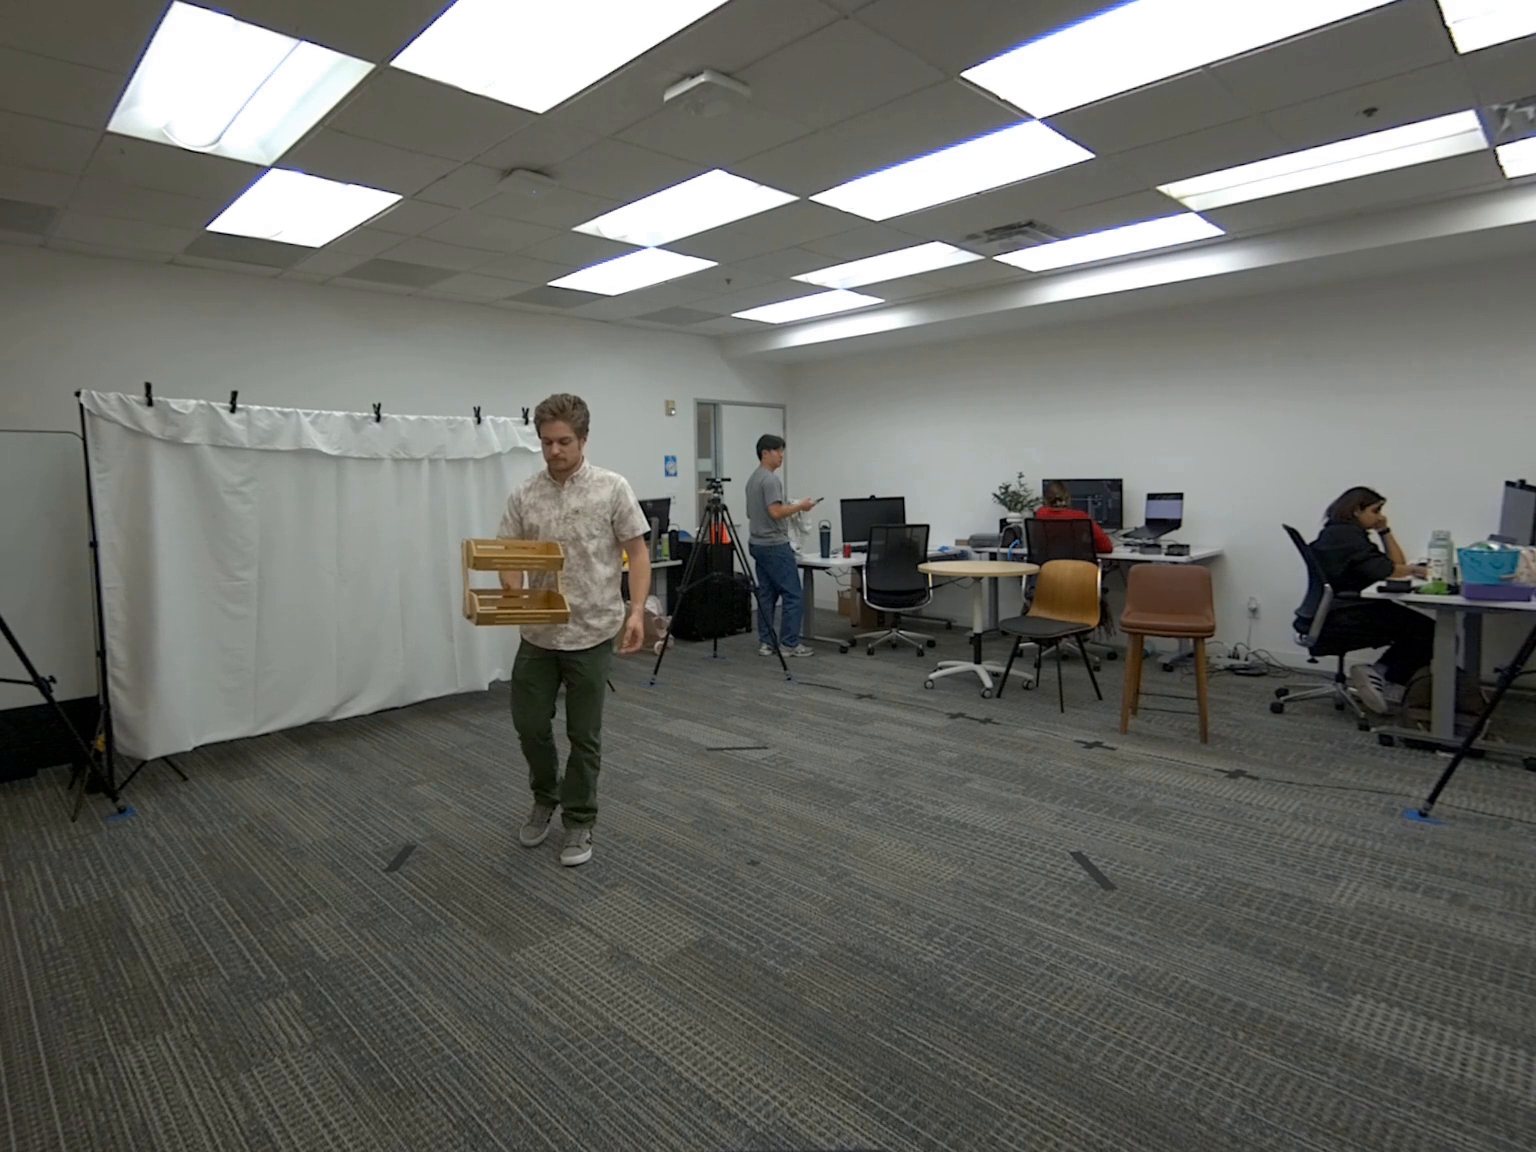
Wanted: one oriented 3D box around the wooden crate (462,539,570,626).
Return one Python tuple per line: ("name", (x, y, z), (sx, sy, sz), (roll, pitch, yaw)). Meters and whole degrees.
("wooden crate", (-0.852, 0.012, 2.864), (0.316, 0.273, 0.310), (1, 3, -29))
